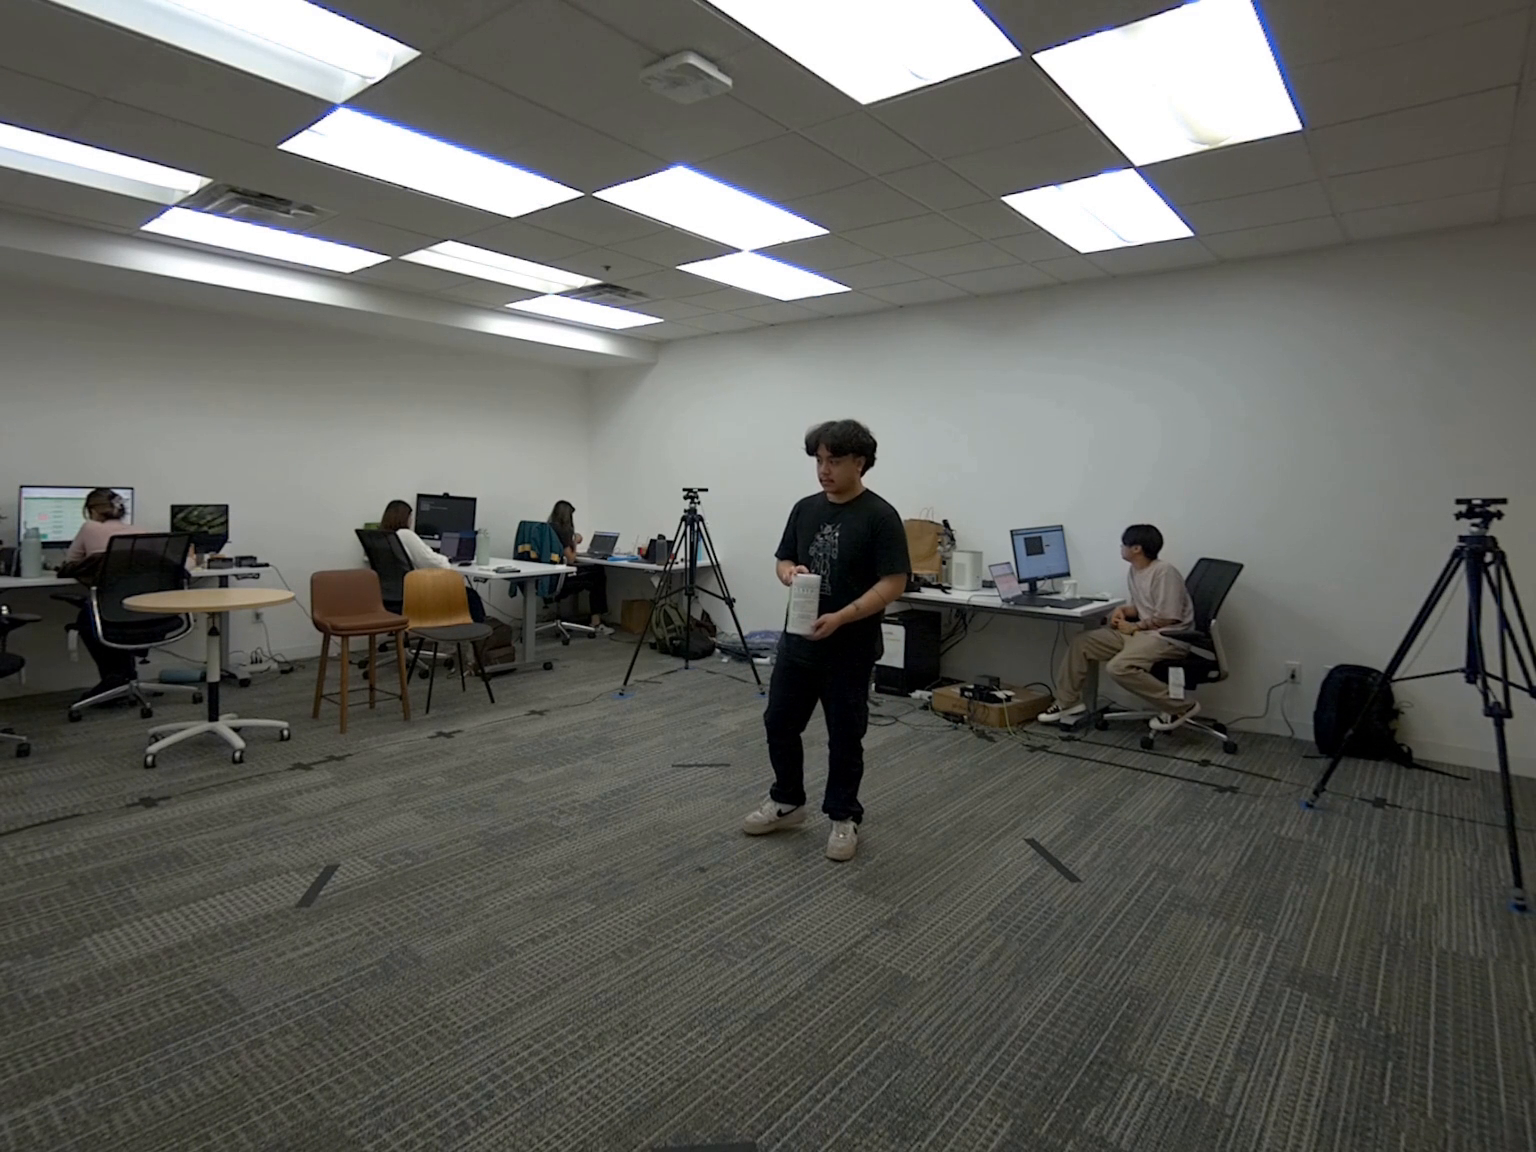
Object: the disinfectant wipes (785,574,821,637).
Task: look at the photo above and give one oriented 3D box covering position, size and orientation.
[{"bbox_3d":[0.120,0.097,3.094,0.118,0.217,0.118,4,1,-2],"label":"disinfectant wipes"}]
